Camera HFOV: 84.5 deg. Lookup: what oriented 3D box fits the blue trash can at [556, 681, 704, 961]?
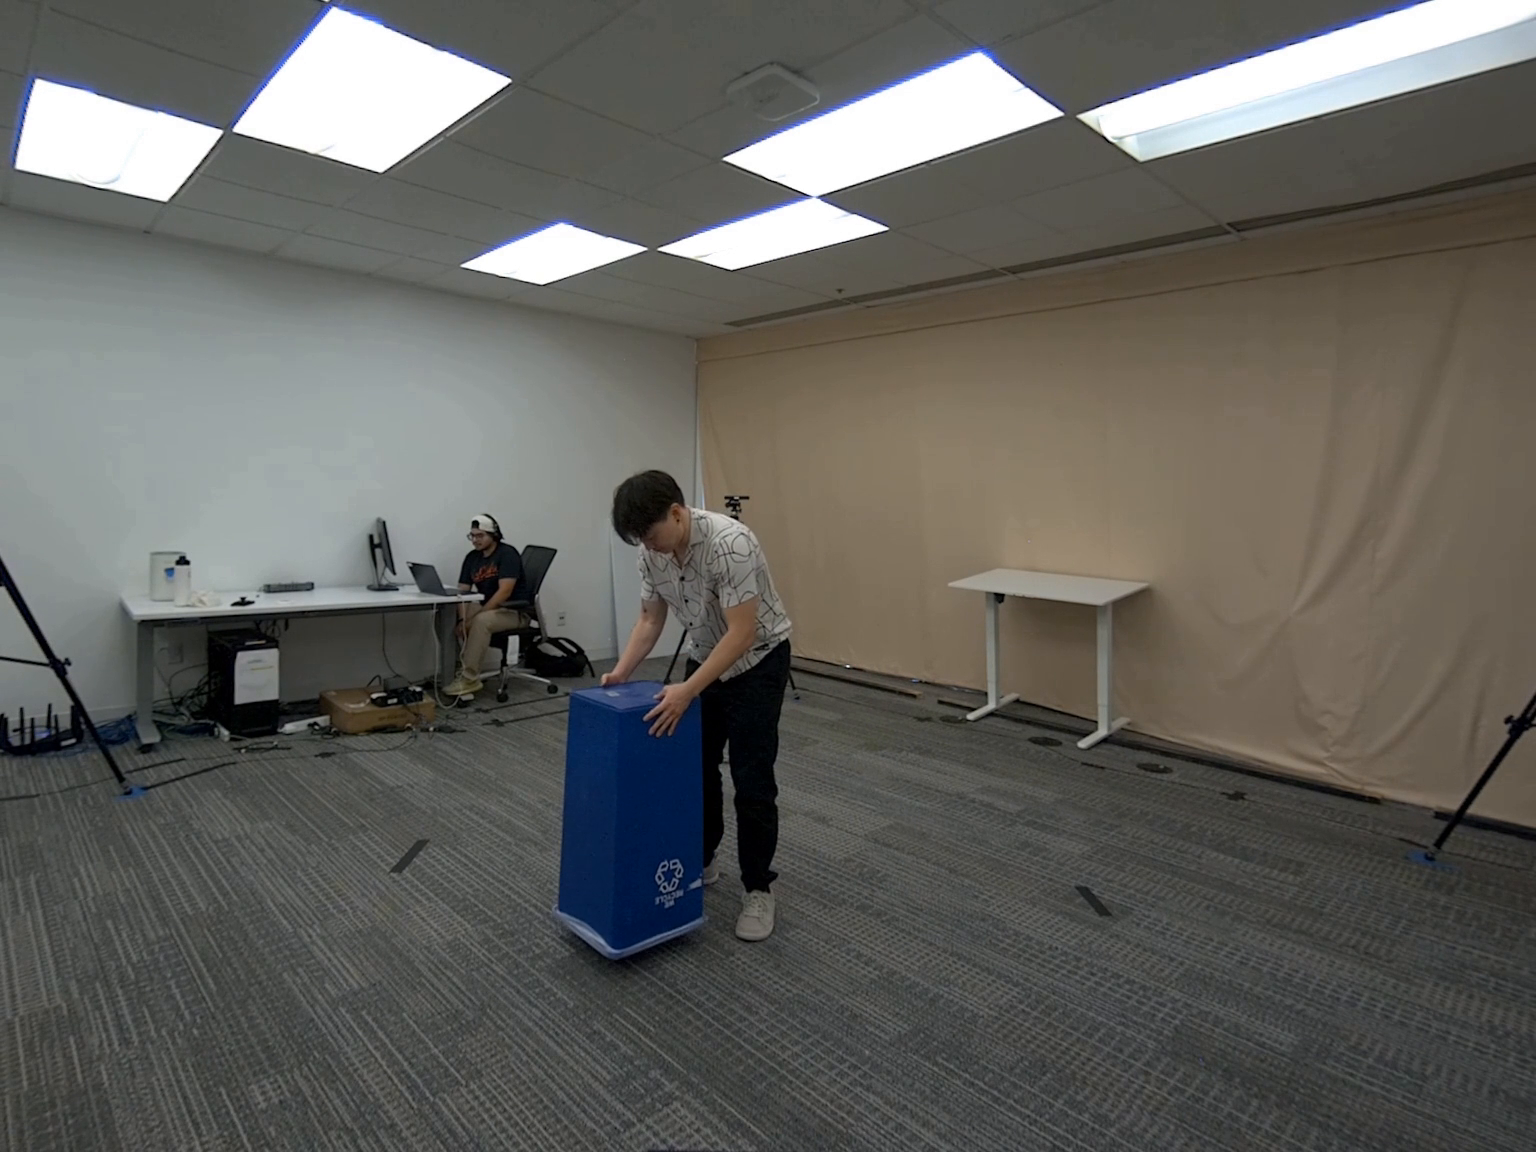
[{"bbox_3d":[-0.429,0.724,2.610,0.369,0.712,0.383,-1,3,-42],"label":"blue trash can"}]
